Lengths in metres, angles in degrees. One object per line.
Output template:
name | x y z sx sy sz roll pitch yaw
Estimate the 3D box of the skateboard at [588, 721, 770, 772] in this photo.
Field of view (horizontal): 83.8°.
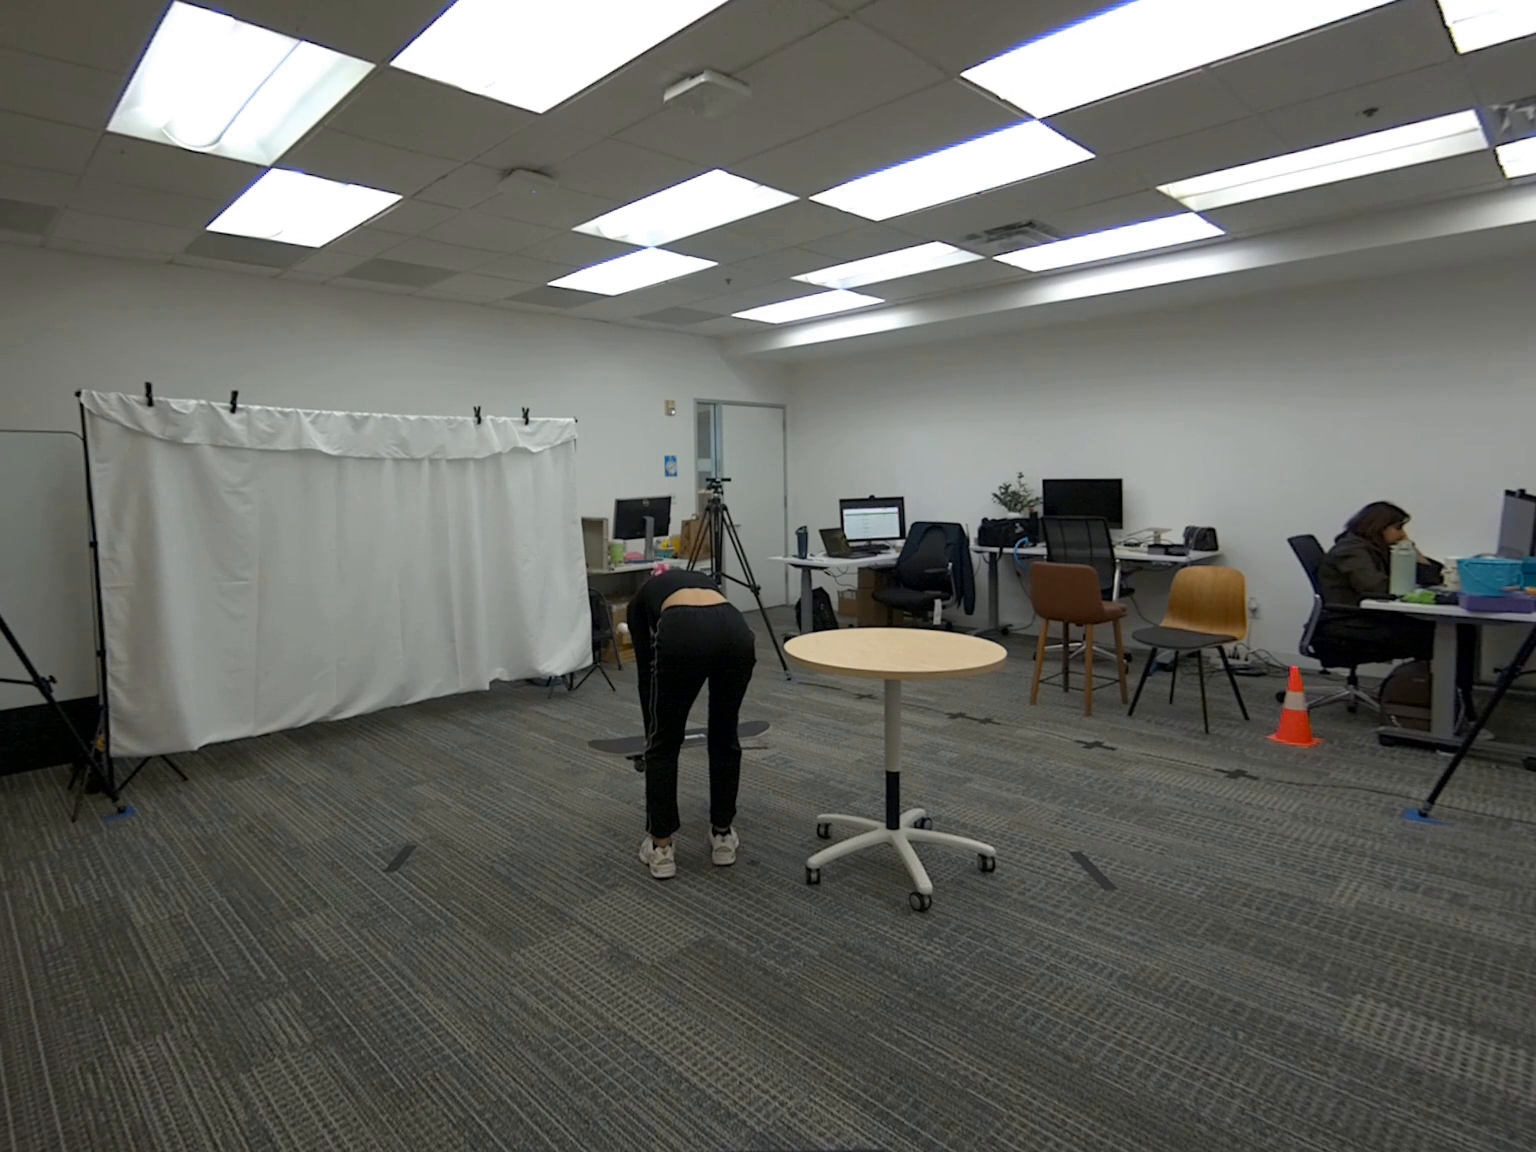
skateboard | -0.360 0.697 3.501 0.771 0.109 0.198 -3 9 -21
